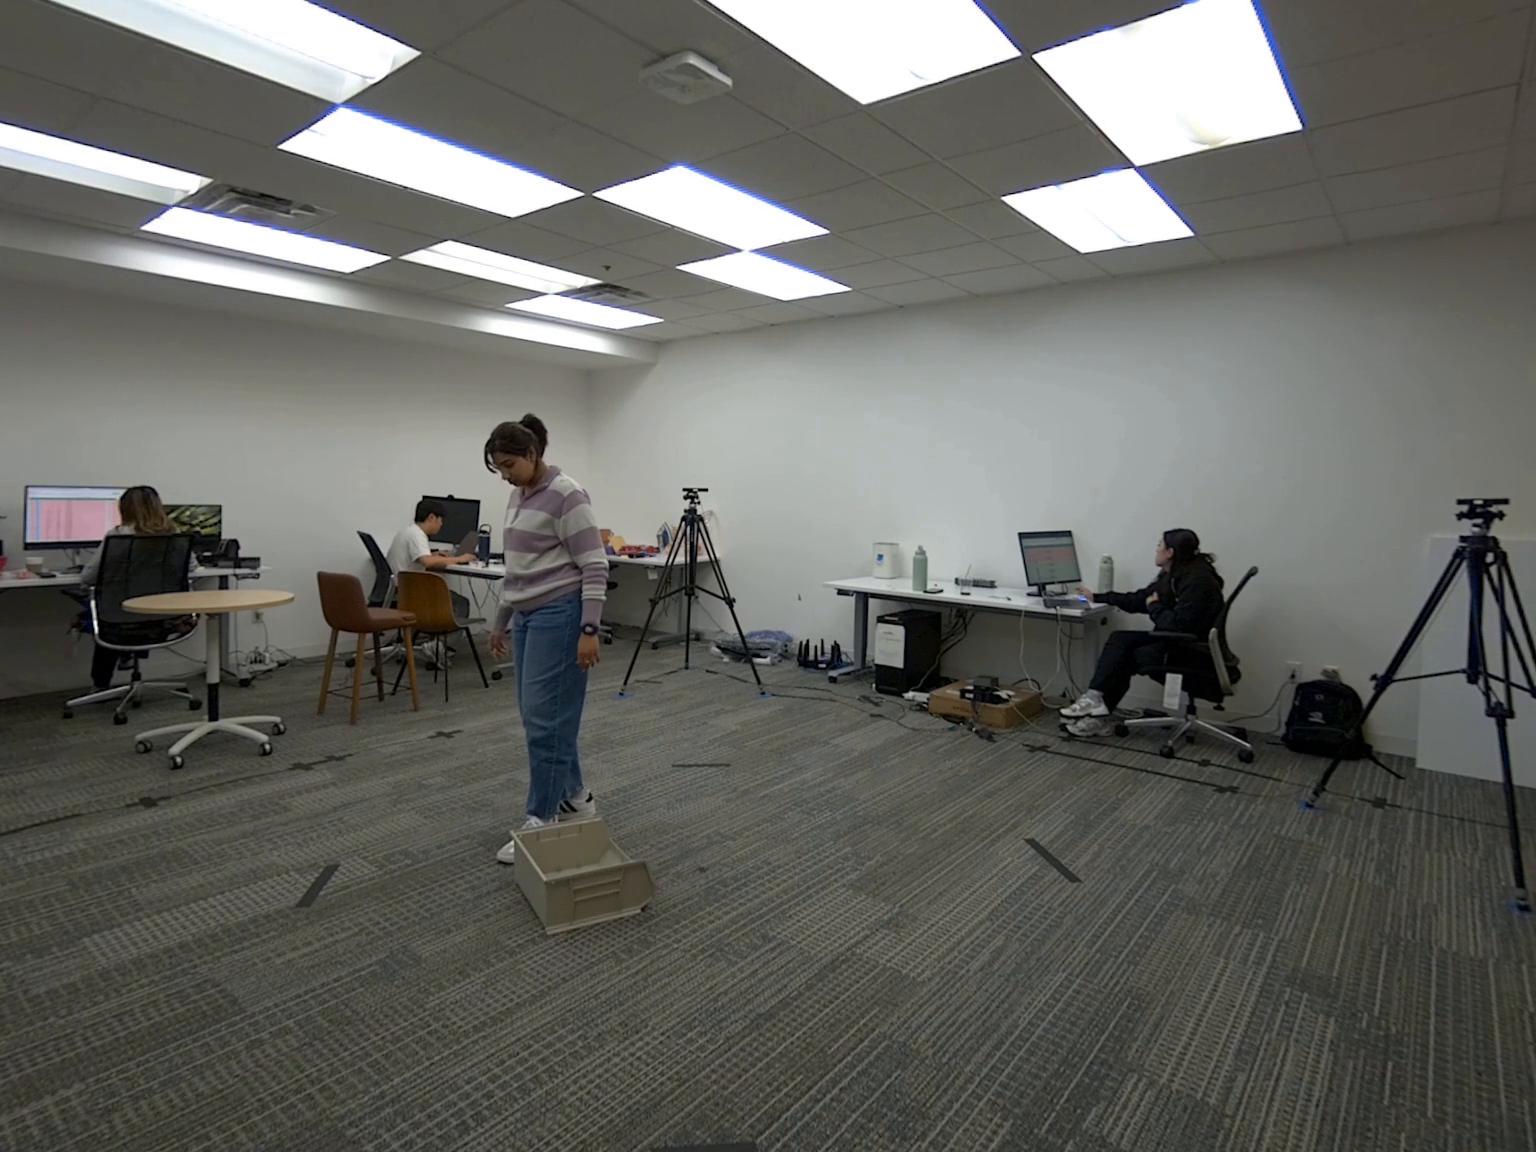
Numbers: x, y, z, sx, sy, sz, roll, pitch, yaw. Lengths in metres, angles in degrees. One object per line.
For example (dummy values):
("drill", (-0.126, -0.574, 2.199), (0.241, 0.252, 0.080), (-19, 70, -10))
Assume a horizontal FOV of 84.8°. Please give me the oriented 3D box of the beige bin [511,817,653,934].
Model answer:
("beige bin", (-0.647, 0.996, 2.884), (0.367, 0.188, 0.435), (-3, 7, -30))
